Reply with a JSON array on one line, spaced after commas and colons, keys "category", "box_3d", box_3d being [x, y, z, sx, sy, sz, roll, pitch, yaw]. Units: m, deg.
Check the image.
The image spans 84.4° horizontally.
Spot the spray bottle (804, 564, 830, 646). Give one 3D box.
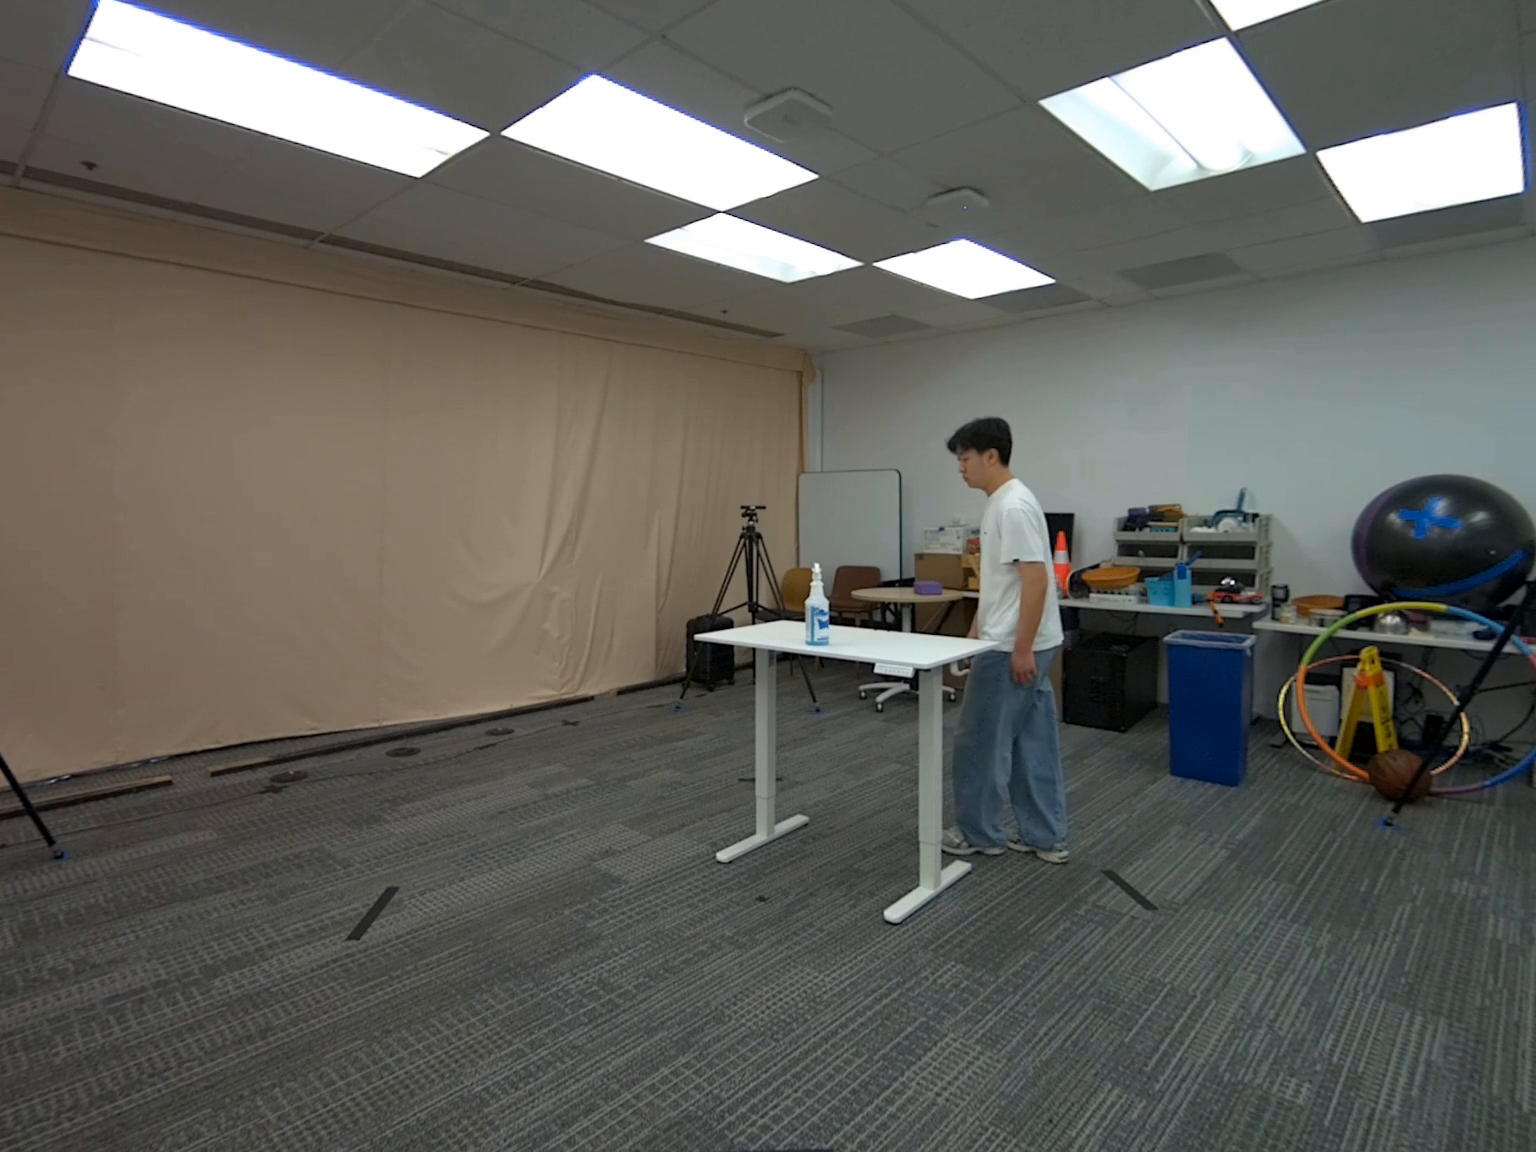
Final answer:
[{"category": "spray bottle", "box_3d": [0.187, 0.111, 3.082, 0.089, 0.297, 0.087, 1, 1, 29]}]
